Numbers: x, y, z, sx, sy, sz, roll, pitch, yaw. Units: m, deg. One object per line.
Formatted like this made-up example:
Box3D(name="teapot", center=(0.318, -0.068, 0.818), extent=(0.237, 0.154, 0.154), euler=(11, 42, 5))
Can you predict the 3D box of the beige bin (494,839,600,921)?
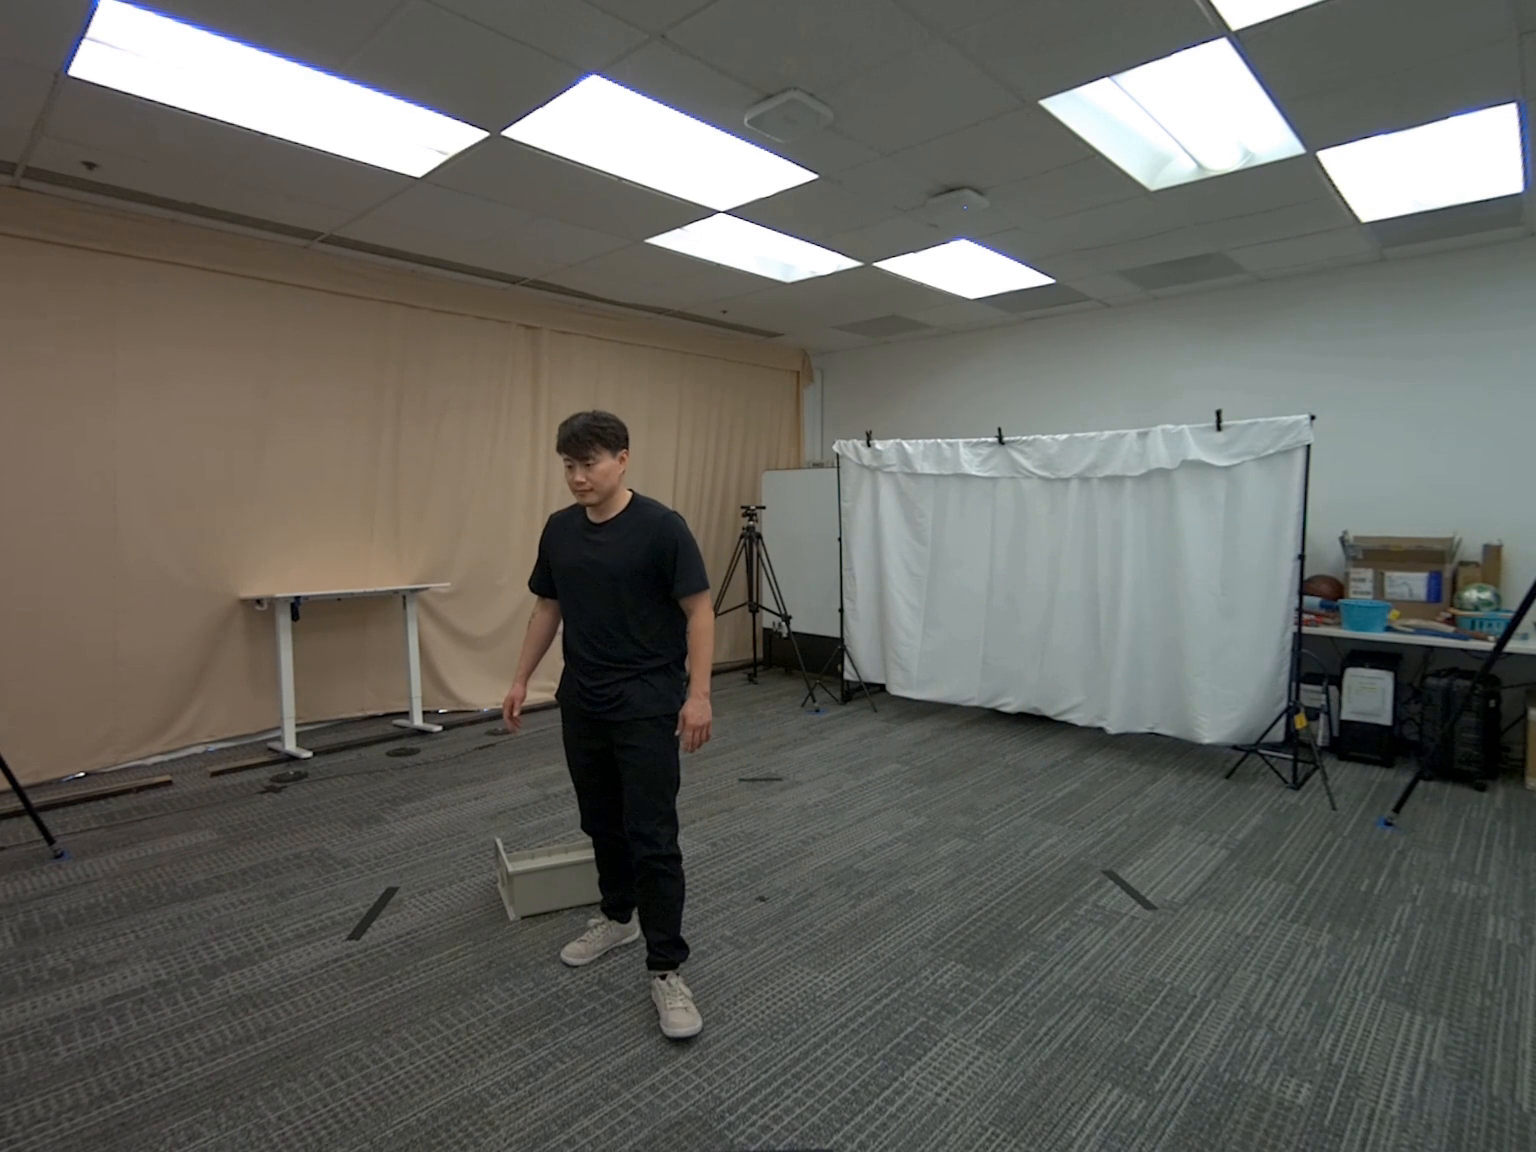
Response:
Box3D(name="beige bin", center=(-0.765, 1.059, 3.067), extent=(0.412, 0.188, 0.387), euler=(-2, 5, -25))
